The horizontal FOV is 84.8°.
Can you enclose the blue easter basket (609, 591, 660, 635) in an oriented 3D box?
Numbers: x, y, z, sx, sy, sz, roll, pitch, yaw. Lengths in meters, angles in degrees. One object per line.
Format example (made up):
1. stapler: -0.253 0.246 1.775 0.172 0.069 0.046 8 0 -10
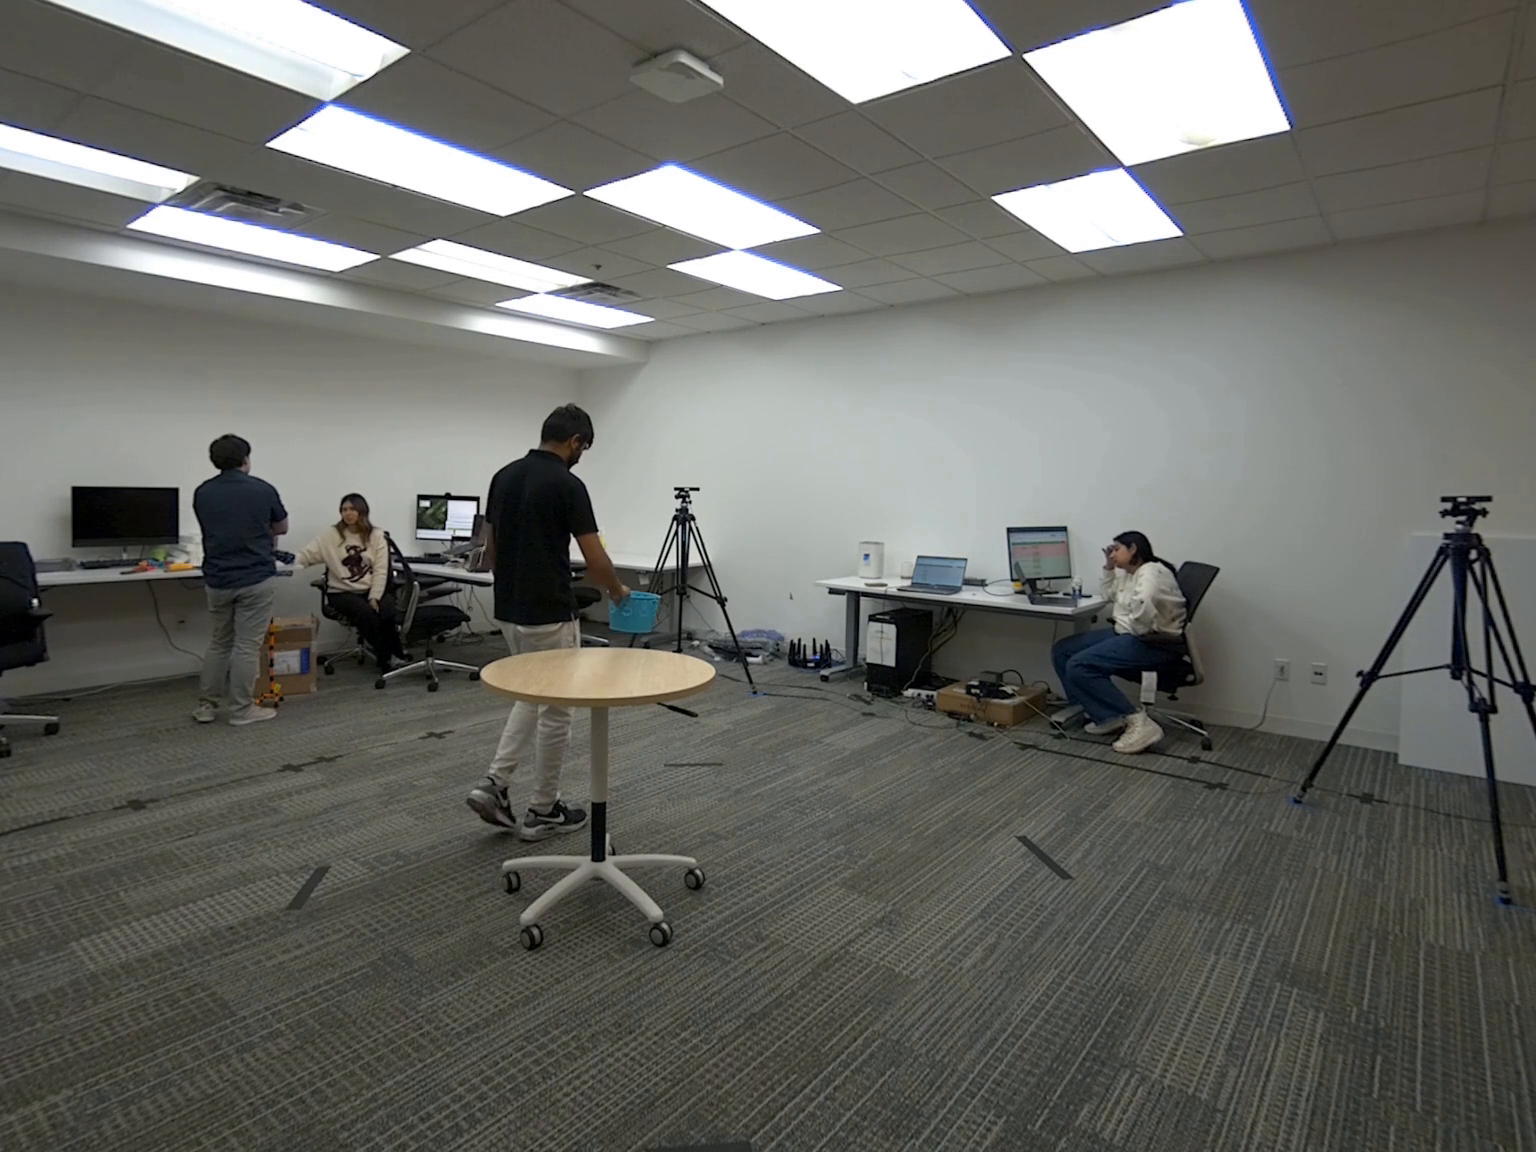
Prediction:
1. blue easter basket: -0.600 0.154 3.664 0.243 0.155 0.245 6 4 -2
